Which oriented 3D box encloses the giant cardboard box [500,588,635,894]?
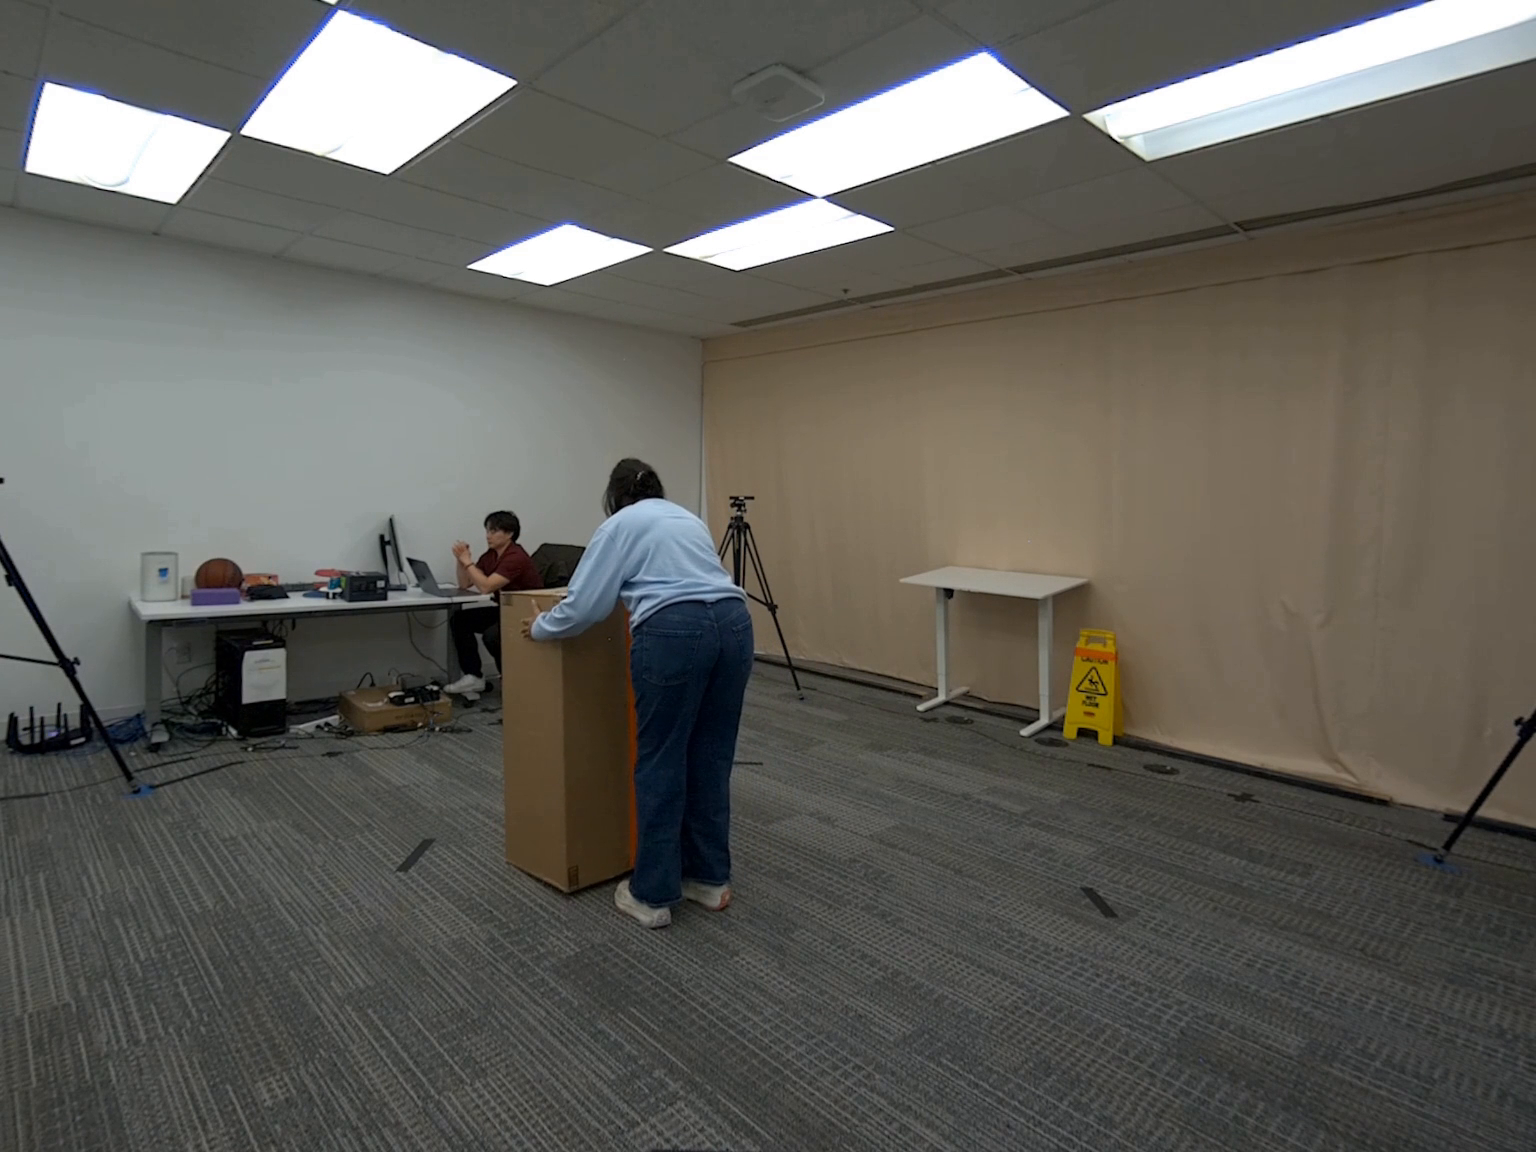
[{"bbox_3d":[-0.664,0.565,3.229,0.570,1.026,0.457,-2,1,-44],"label":"giant cardboard box"}]
